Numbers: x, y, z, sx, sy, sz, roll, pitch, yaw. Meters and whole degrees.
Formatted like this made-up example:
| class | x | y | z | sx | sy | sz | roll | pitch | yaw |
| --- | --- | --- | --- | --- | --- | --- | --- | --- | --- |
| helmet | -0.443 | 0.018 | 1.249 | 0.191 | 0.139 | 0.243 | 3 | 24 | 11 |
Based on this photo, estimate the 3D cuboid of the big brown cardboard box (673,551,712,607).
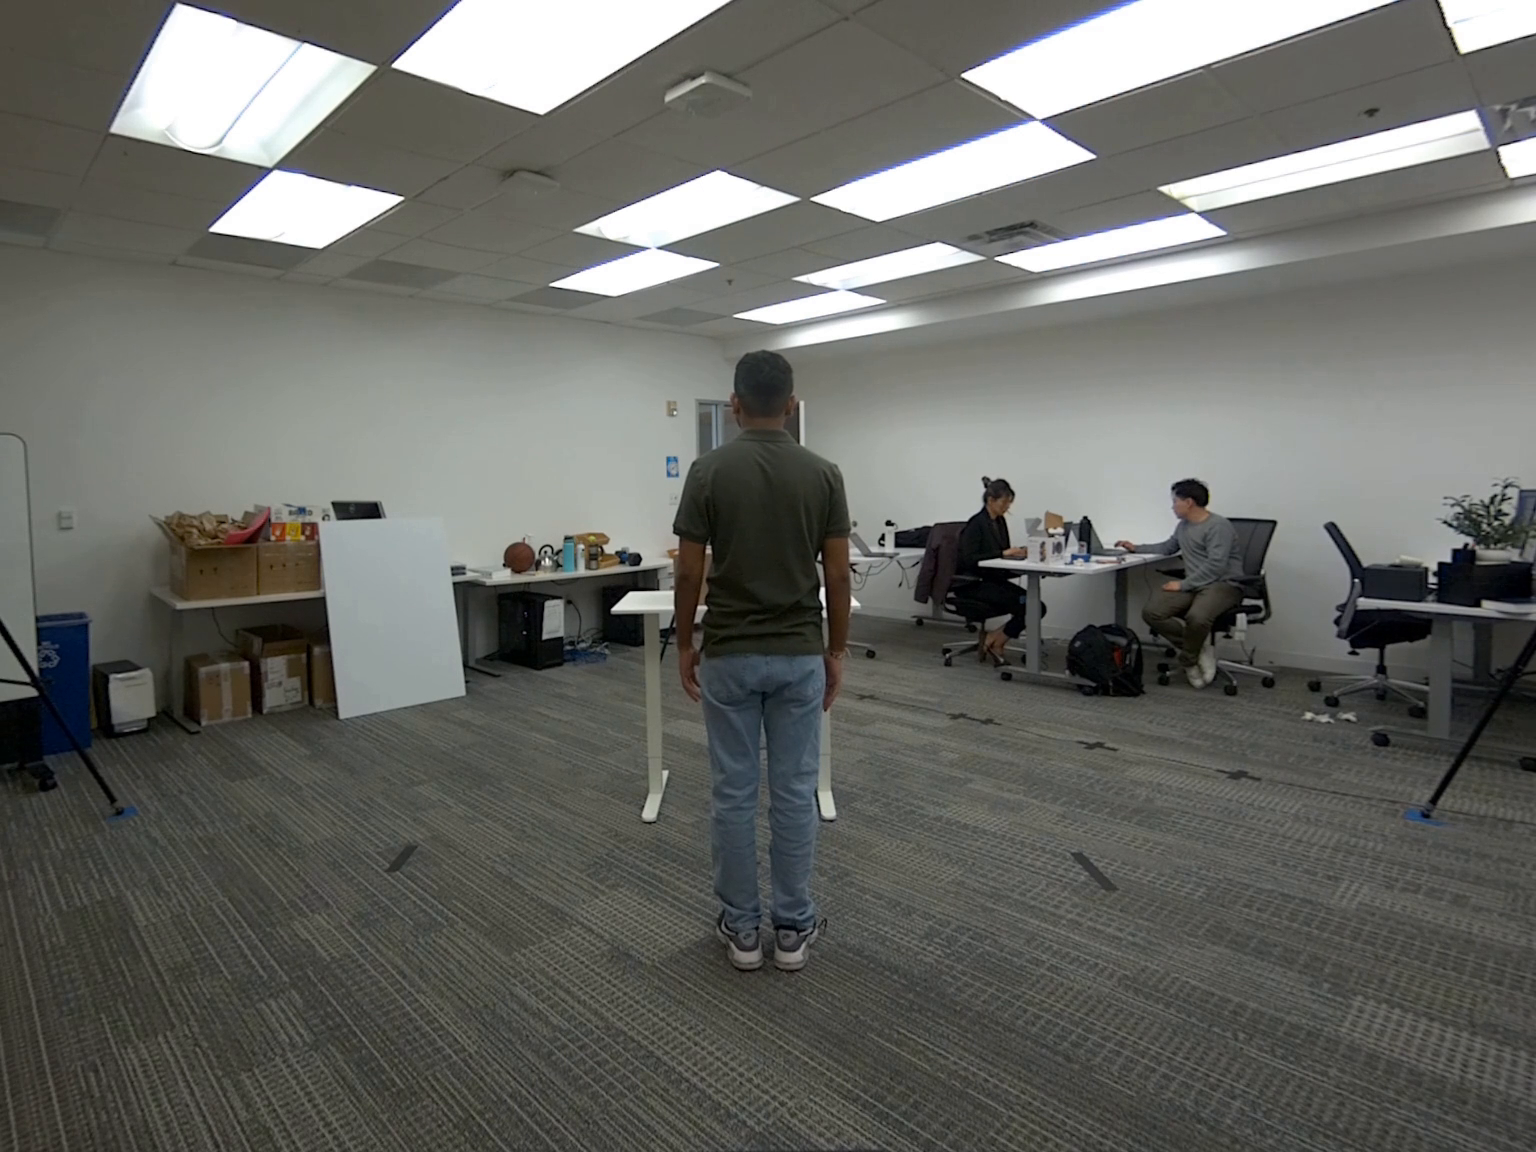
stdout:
| class | x | y | z | sx | sy | sz | roll | pitch | yaw |
| --- | --- | --- | --- | --- | --- | --- | --- | --- | --- |
| big brown cardboard box | -0.099 | -0.011 | 3.698 | 0.591 | 0.232 | 0.418 | 0 | 5 | 2 |
